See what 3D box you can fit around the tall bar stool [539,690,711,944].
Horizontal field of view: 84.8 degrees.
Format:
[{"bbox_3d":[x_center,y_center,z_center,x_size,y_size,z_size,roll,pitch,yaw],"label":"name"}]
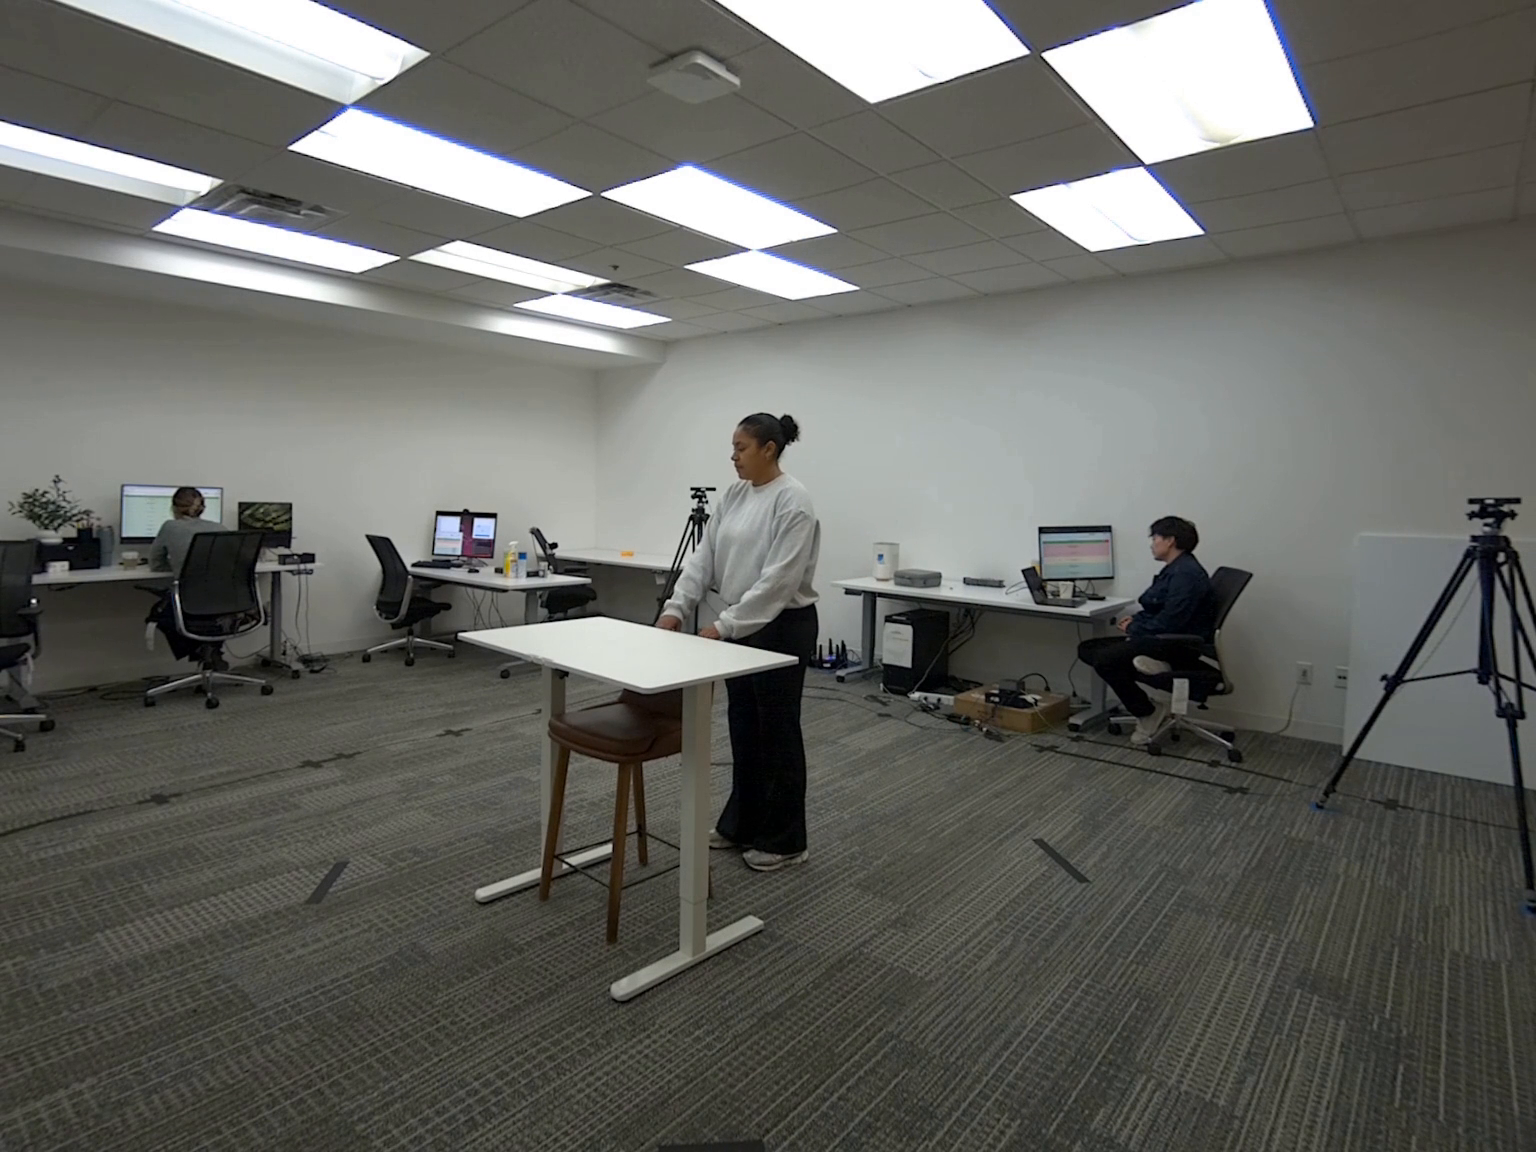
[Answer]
[{"bbox_3d":[-0.465,0.653,2.856,0.472,0.889,0.453,3,2,45],"label":"tall bar stool"}]
